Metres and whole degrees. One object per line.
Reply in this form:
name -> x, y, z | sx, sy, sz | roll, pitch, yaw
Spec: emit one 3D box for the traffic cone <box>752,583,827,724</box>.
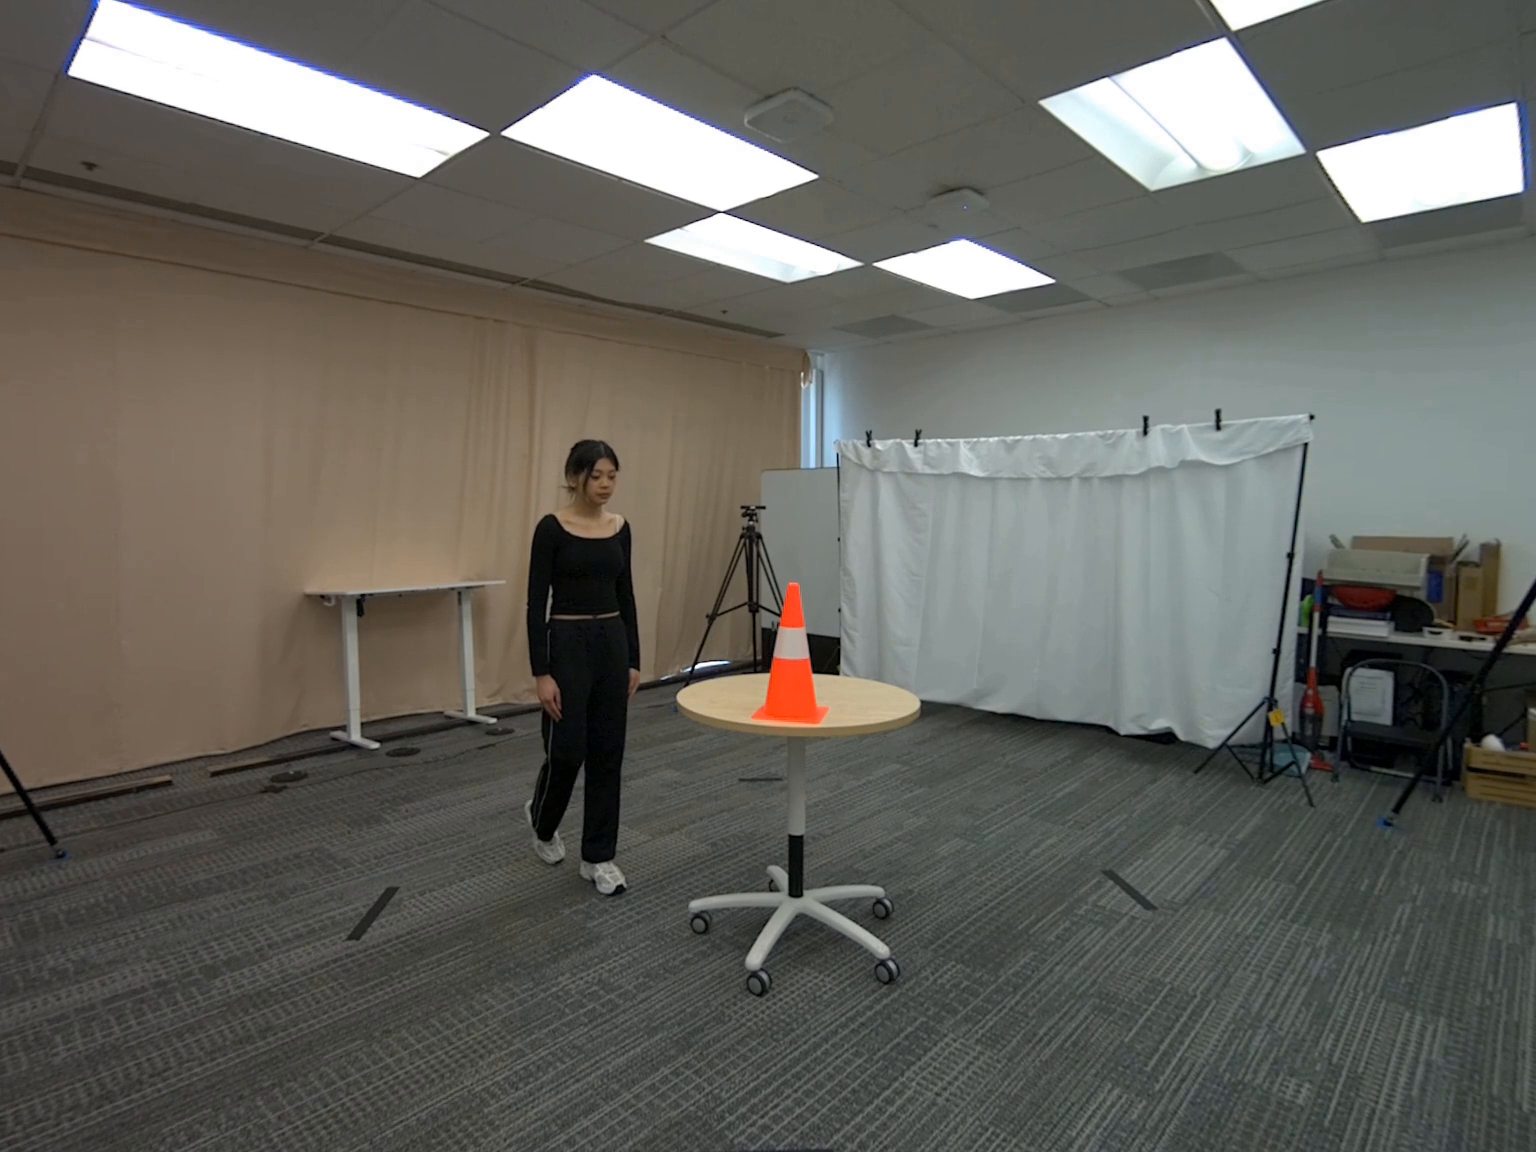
traffic cone -> 0.076, 0.215, 2.442 | 0.205, 0.382, 0.204 | -1, 4, 6
